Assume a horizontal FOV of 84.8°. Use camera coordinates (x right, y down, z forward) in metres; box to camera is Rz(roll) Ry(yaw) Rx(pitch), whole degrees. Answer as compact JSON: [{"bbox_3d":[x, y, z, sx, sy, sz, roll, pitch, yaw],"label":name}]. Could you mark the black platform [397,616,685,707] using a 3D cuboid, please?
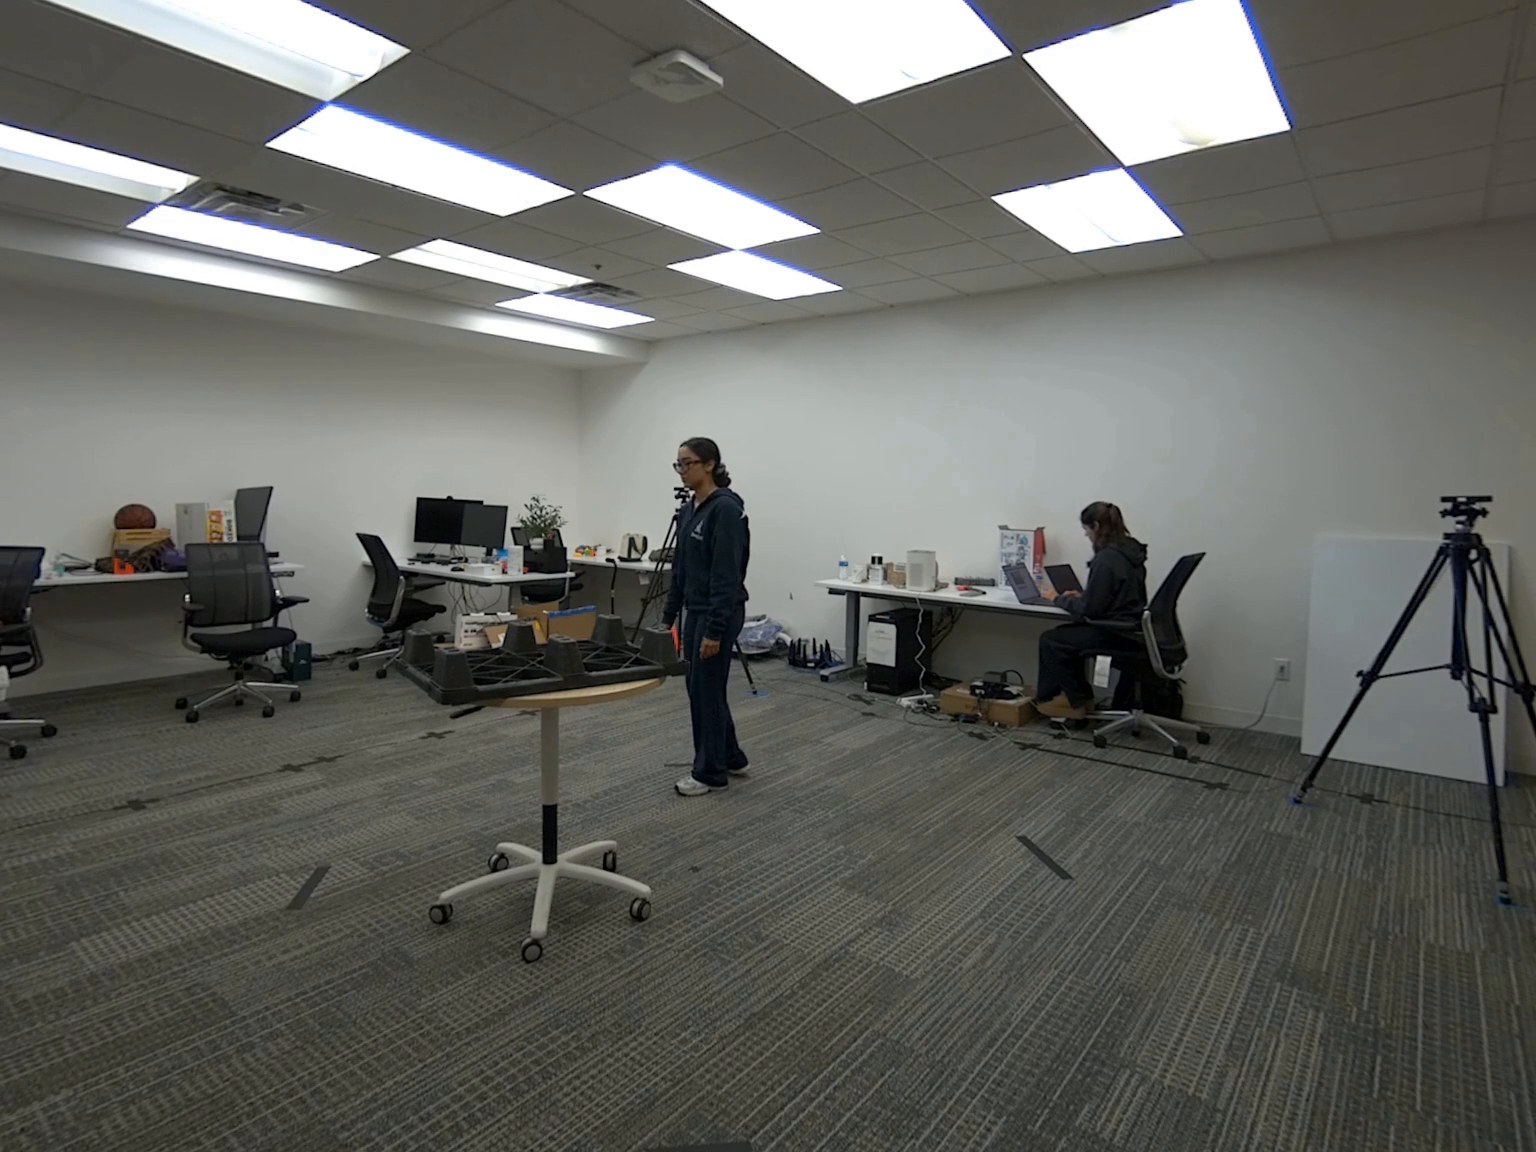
[{"bbox_3d":[-0.755,0.247,2.774,0.783,0.143,0.625,-3,6,-35],"label":"black platform"}]
